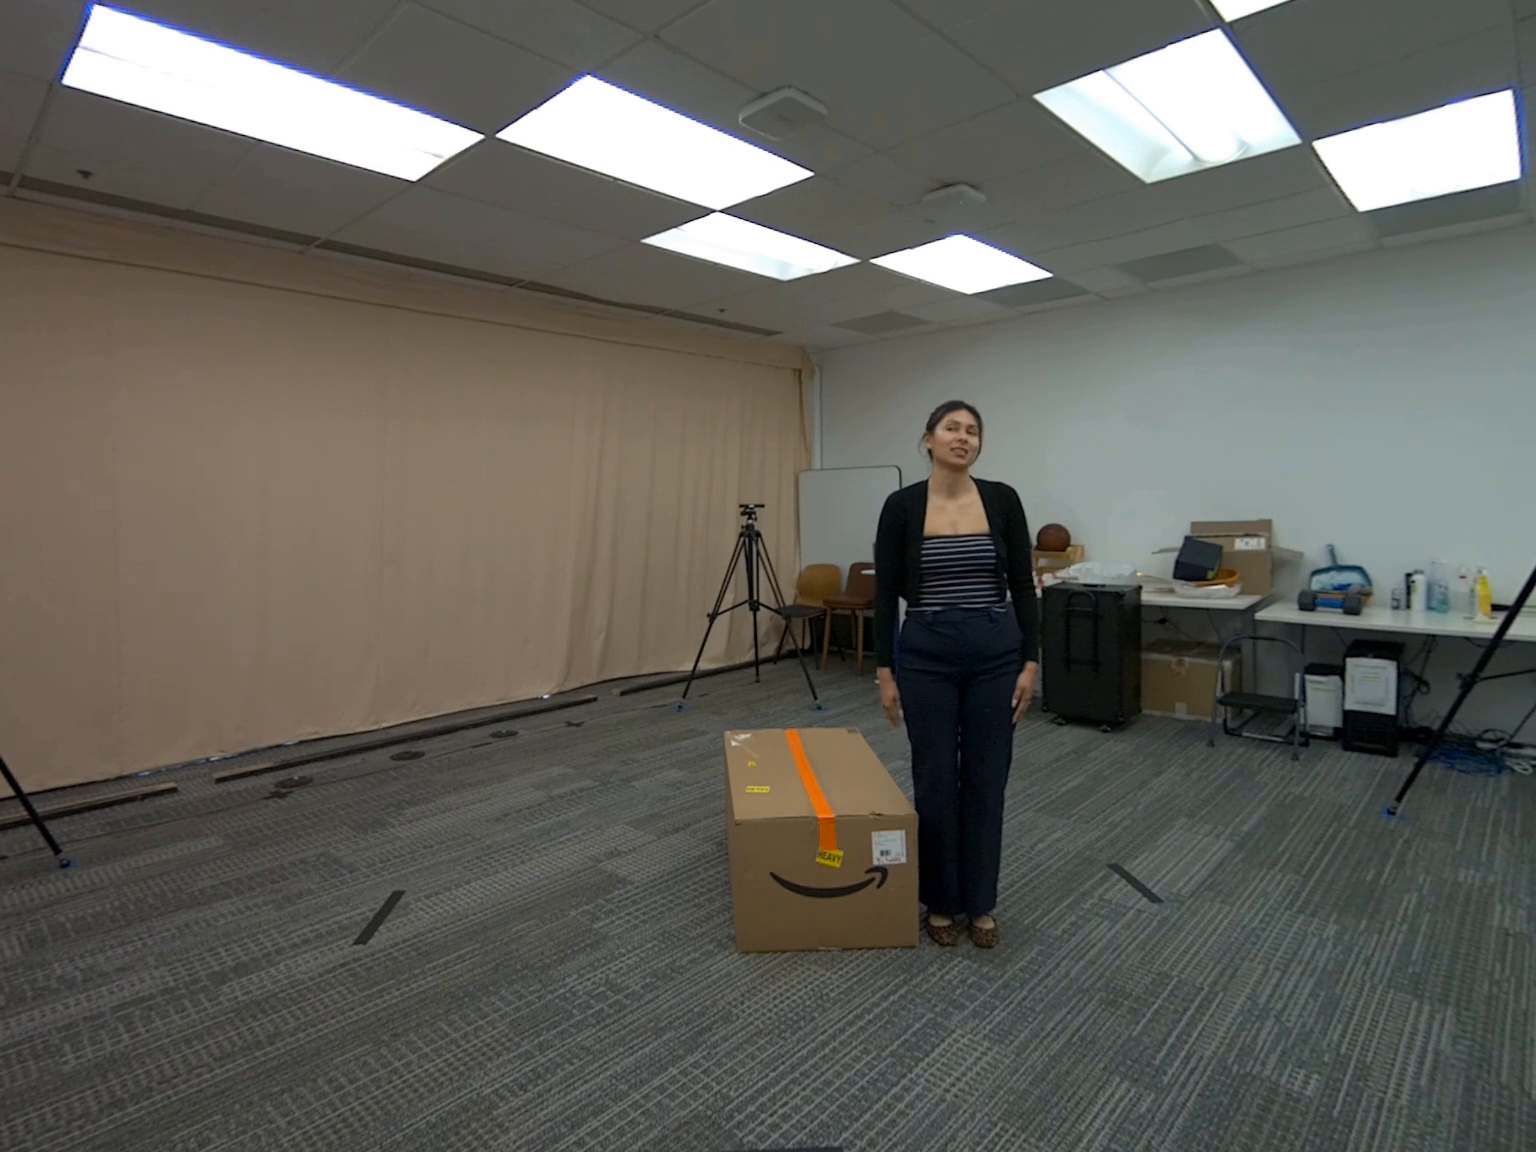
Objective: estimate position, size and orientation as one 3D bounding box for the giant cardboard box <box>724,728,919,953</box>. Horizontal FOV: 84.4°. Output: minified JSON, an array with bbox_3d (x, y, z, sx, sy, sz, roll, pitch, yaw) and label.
[{"bbox_3d":[0.148,0.910,3.123,0.576,0.425,1.032,-2,5,-4],"label":"giant cardboard box"}]
